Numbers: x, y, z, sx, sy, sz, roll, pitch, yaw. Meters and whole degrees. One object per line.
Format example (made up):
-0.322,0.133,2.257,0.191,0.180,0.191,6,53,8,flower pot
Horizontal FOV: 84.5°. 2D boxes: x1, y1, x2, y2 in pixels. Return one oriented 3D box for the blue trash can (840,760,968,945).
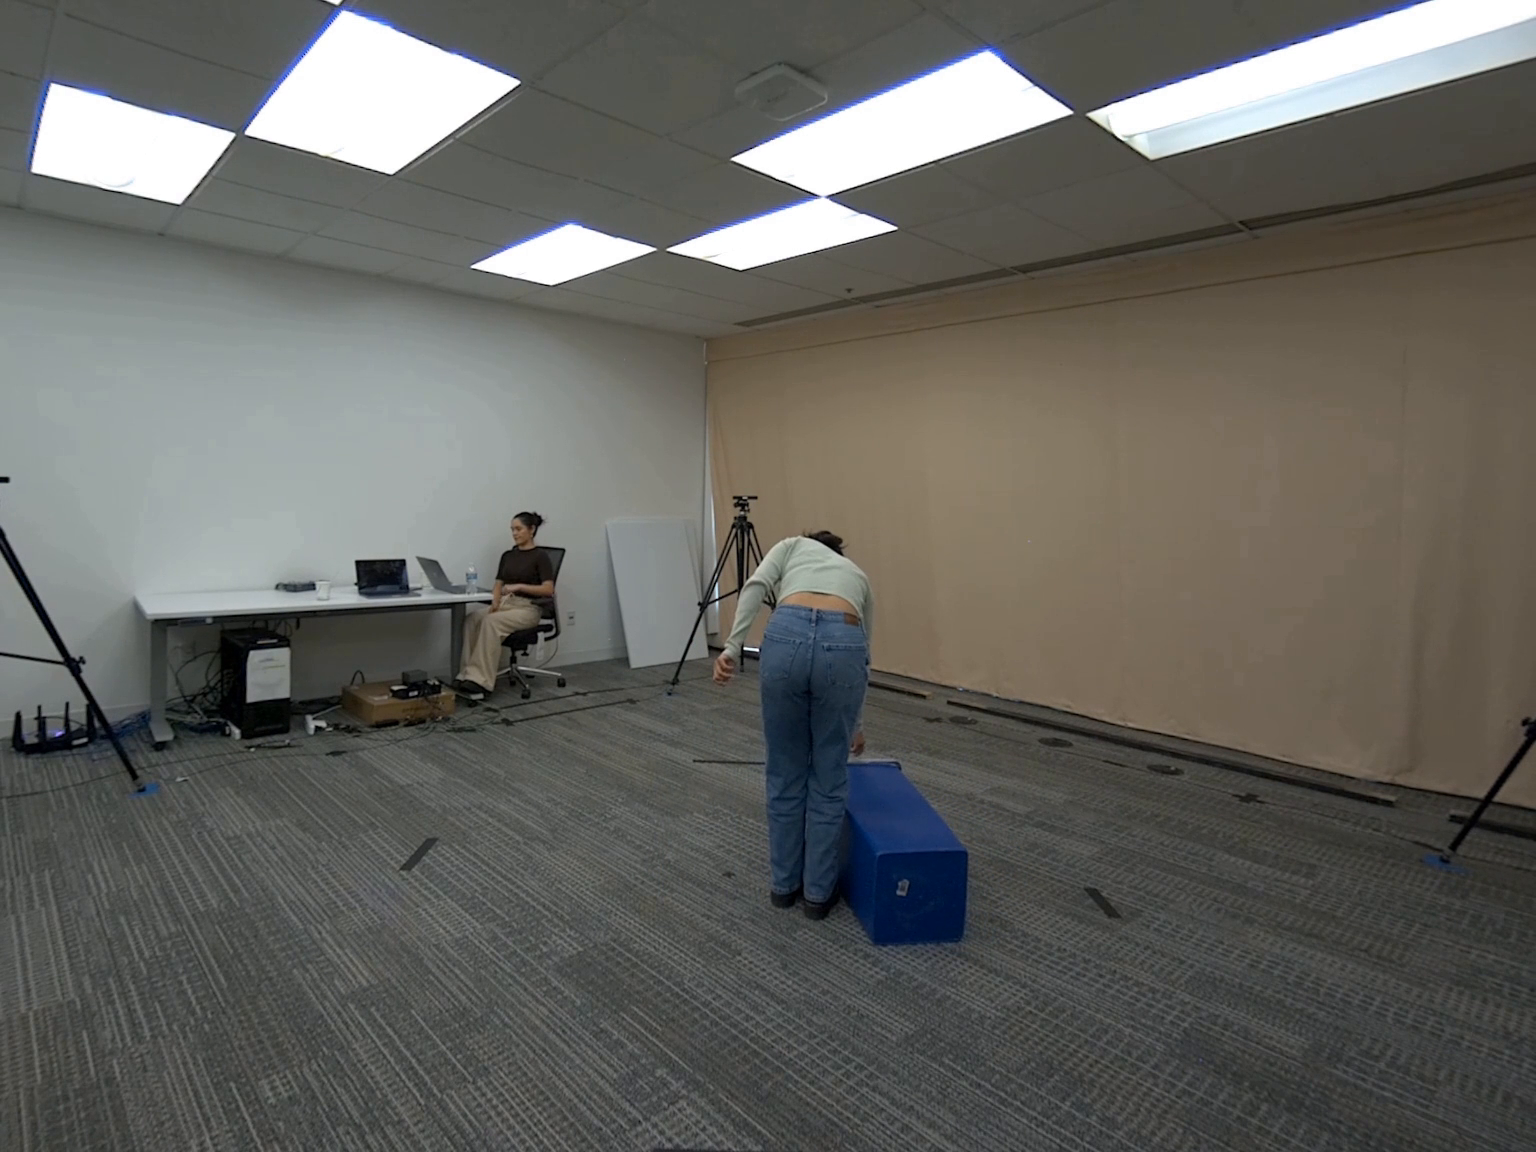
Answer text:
0.400,0.947,2.984,0.371,0.376,0.722,1,7,-10,blue trash can
